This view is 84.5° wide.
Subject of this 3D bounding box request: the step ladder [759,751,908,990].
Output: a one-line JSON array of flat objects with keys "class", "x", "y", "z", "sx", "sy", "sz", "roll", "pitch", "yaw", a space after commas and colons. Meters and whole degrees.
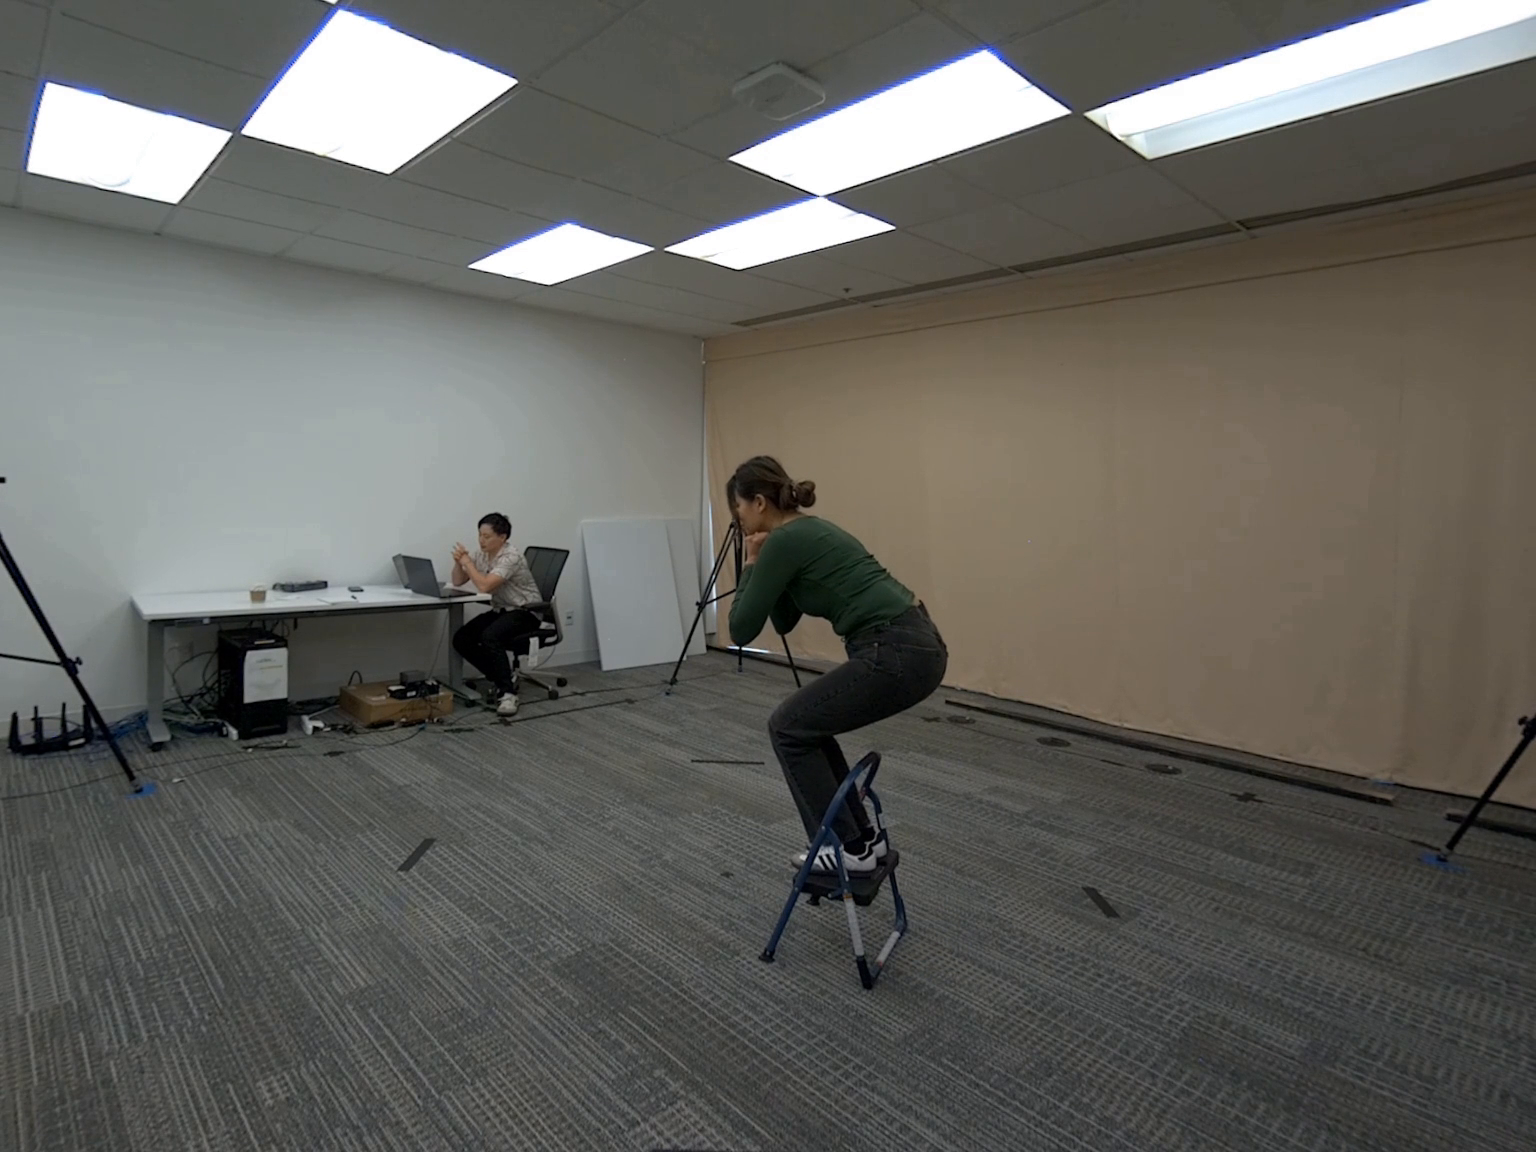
[{"class": "step ladder", "x": 0.223, "y": 0.855, "z": 2.624, "sx": 0.356, "sy": 0.604, "sz": 0.423, "roll": 3, "pitch": 4, "yaw": 25}]
